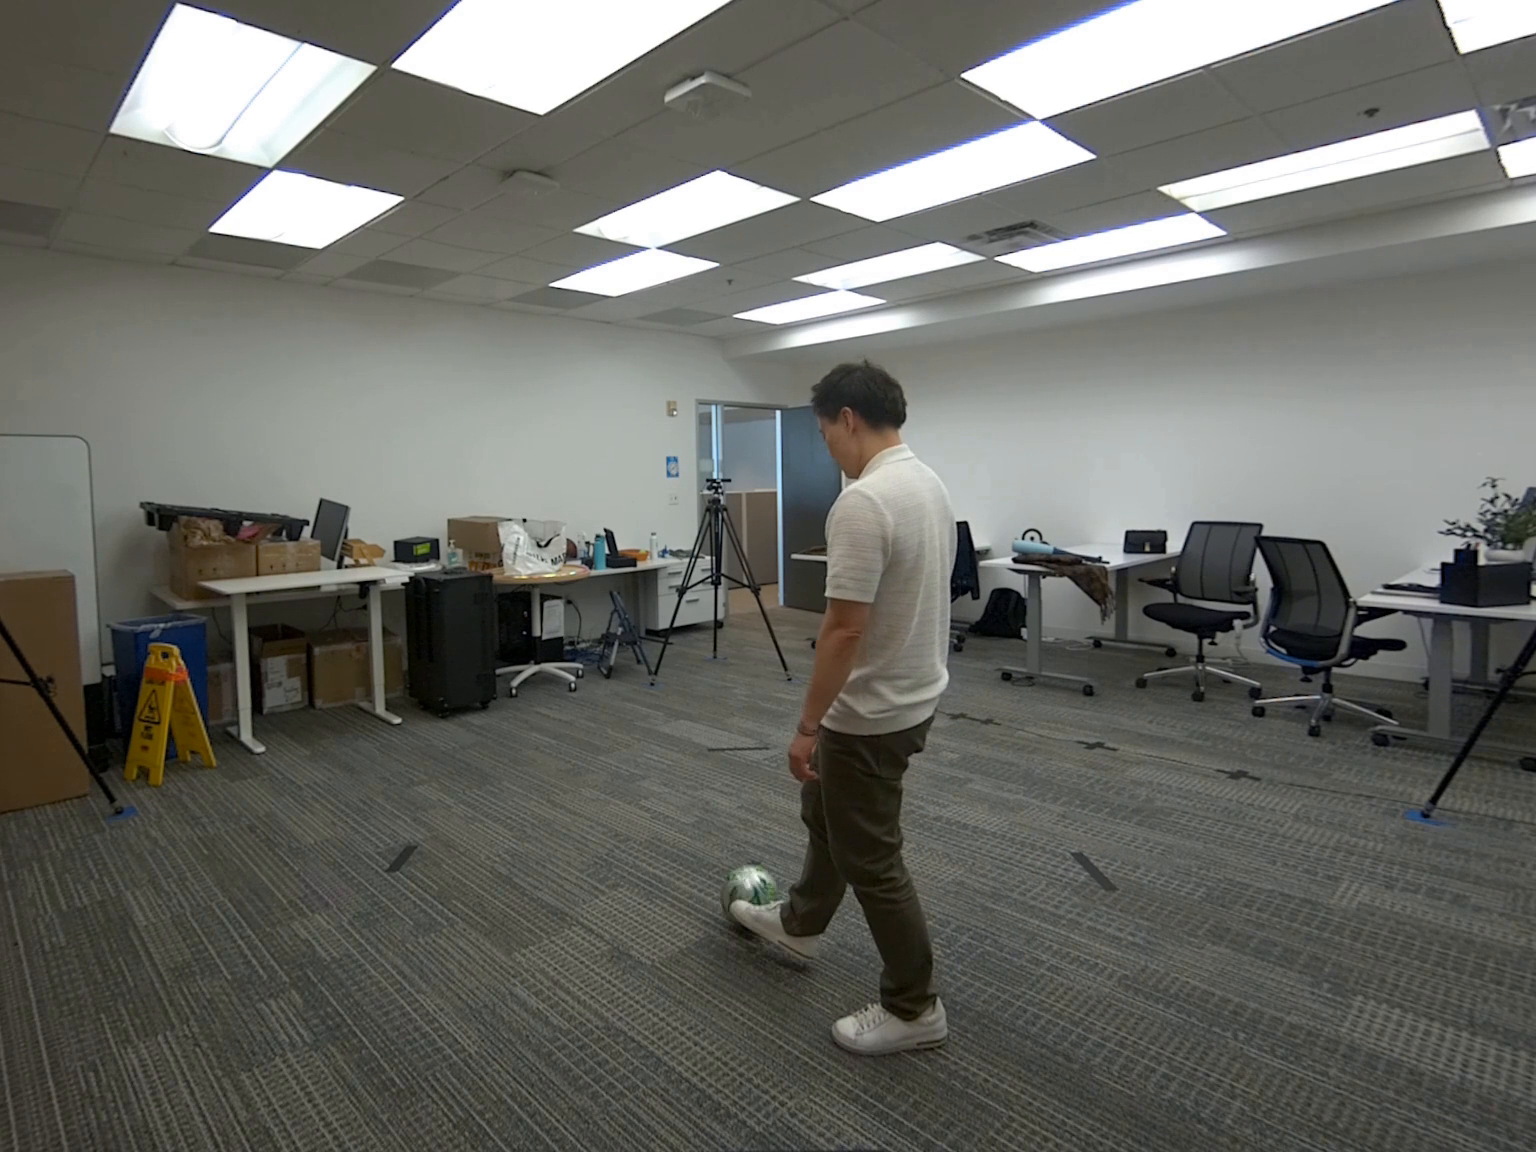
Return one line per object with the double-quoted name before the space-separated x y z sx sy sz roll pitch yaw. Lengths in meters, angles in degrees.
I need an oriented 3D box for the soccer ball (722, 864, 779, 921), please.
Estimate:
"soccer ball" -0.051 1.003 2.671 0.187 0.187 0.188 -1 5 -2
